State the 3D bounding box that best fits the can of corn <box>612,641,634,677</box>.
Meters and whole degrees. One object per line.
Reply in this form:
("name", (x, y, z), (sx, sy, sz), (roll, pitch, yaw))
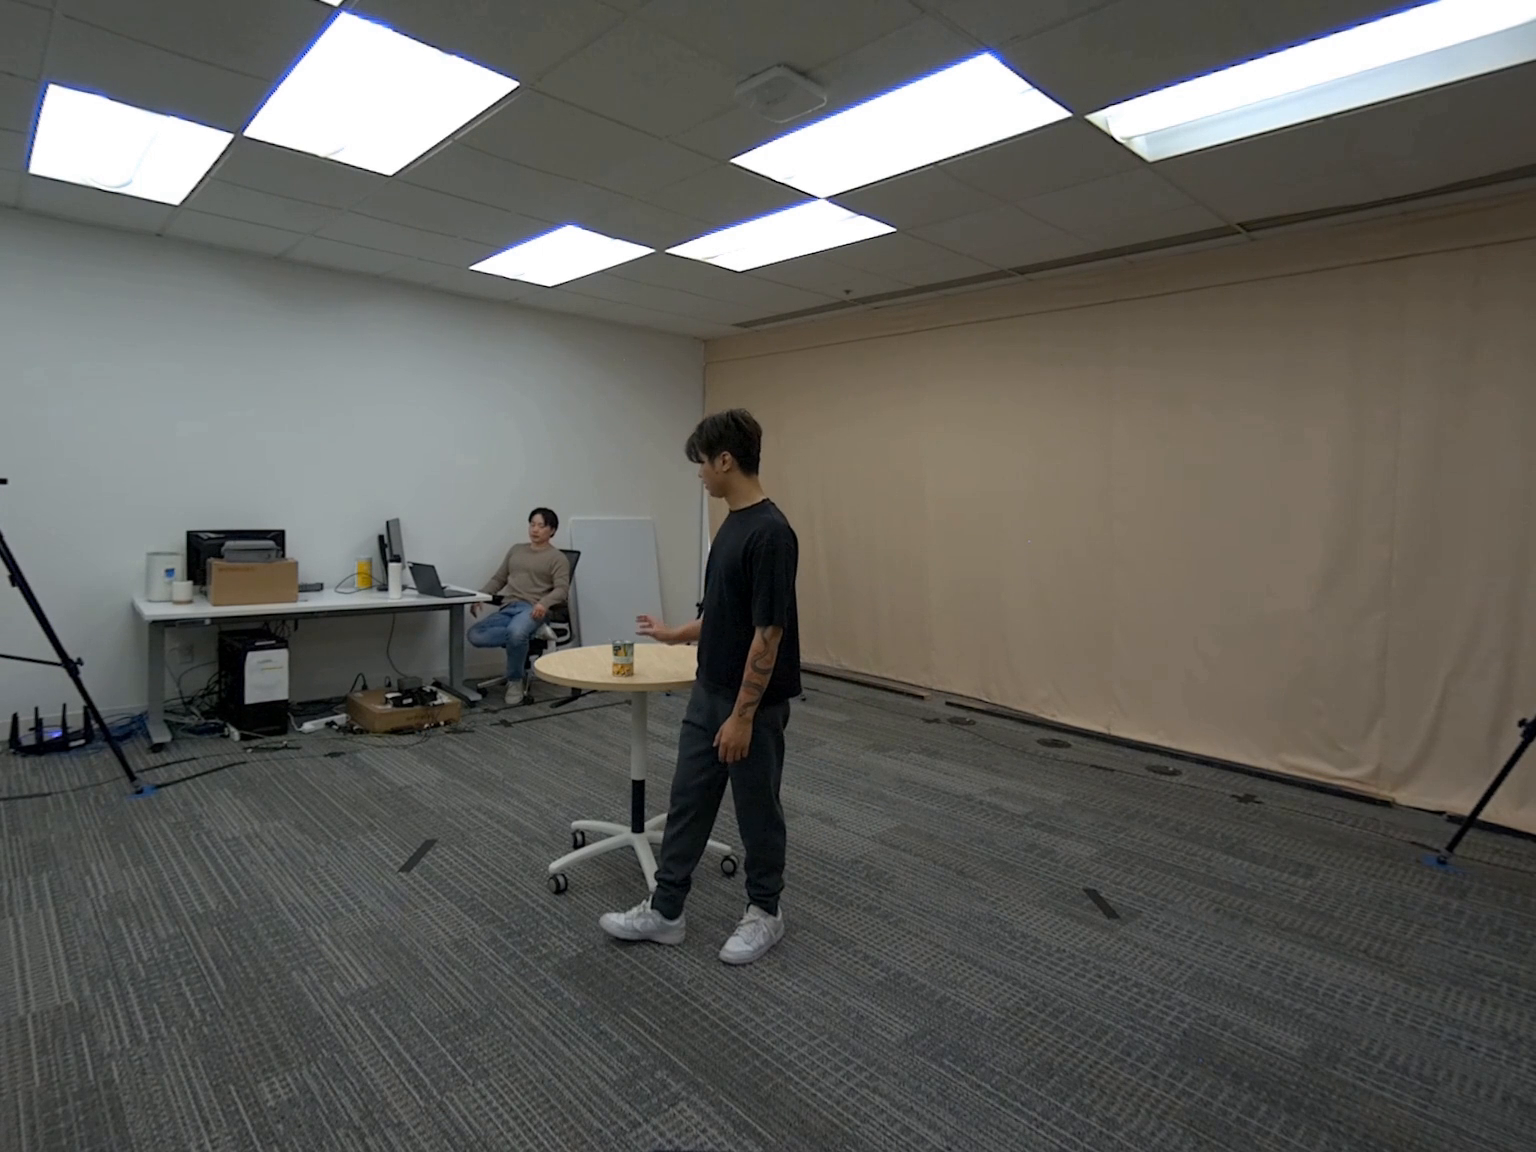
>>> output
("can of corn", (-0.503, 0.284, 2.856), (0.074, 0.110, 0.074), (-1, 7, -1))
